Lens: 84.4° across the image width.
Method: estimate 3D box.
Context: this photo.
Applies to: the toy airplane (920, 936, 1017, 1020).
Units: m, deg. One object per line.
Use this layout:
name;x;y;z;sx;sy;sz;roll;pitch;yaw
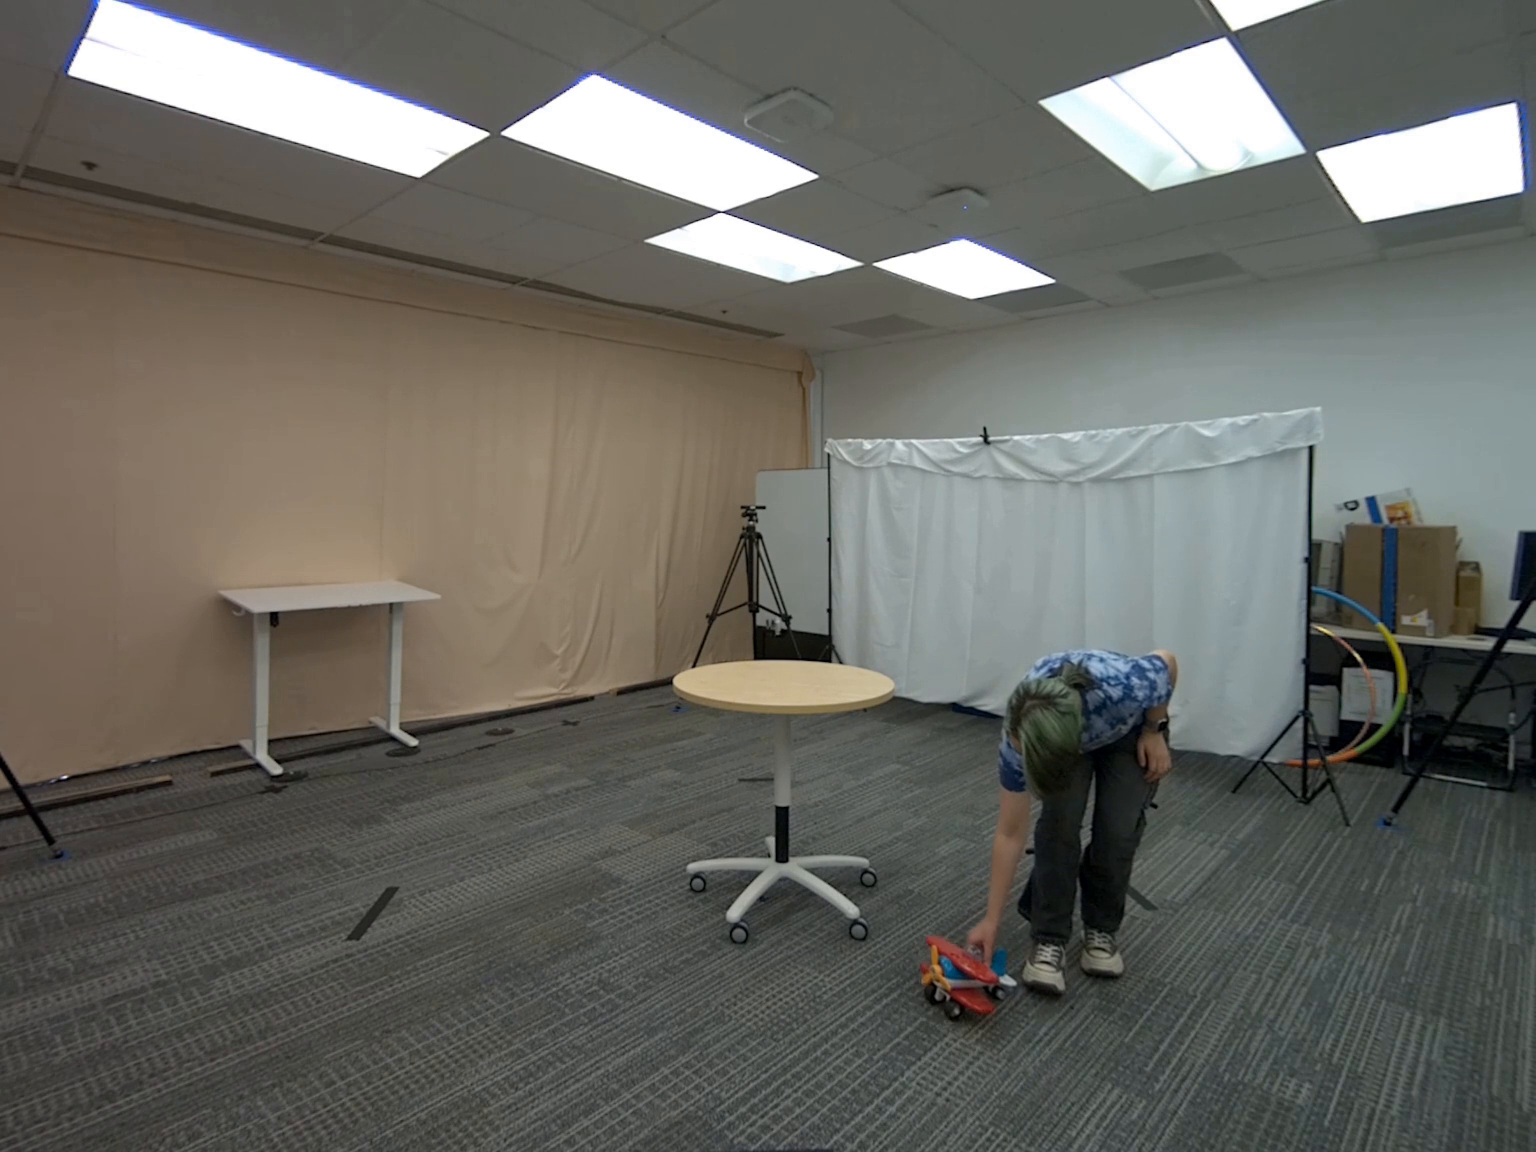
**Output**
toy airplane;0.561;1.126;2.363;0.259;0.156;0.252;3;7;34
